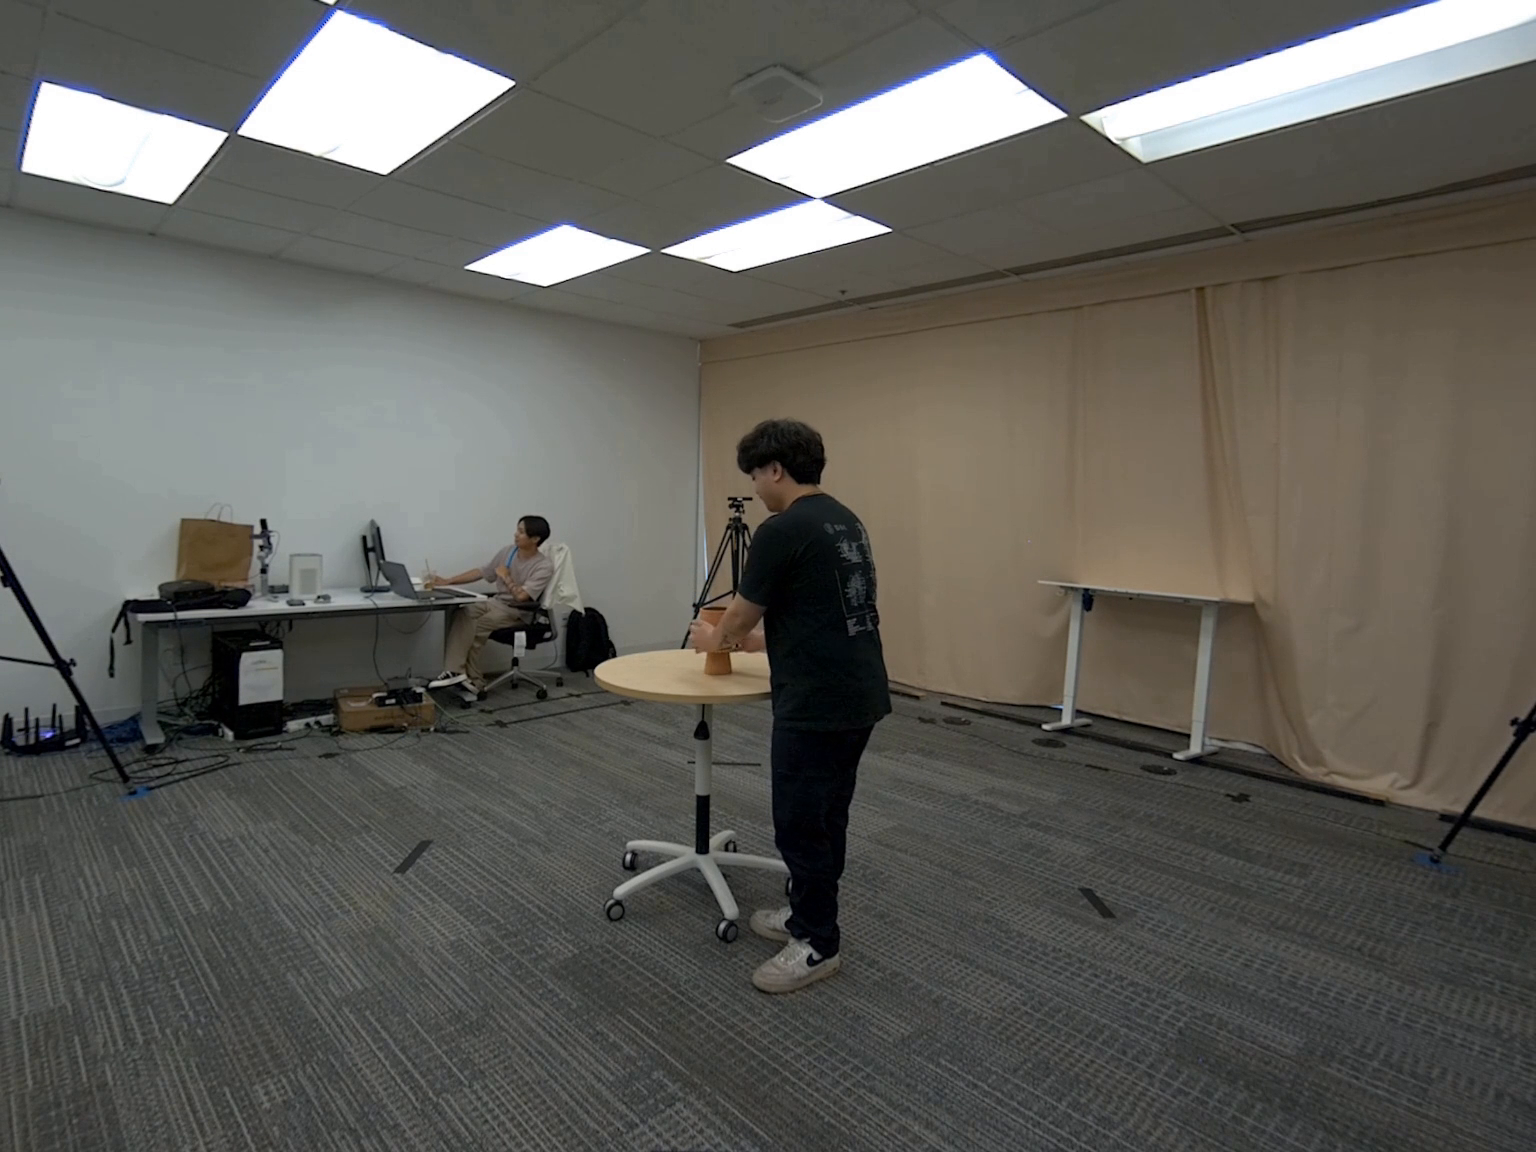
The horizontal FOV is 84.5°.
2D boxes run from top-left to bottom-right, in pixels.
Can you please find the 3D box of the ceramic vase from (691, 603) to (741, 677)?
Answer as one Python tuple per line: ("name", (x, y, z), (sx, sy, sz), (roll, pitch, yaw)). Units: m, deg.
("ceramic vase", (-0.173, 0.227, 2.888), (0.134, 0.219, 0.159), (2, 4, -3))
